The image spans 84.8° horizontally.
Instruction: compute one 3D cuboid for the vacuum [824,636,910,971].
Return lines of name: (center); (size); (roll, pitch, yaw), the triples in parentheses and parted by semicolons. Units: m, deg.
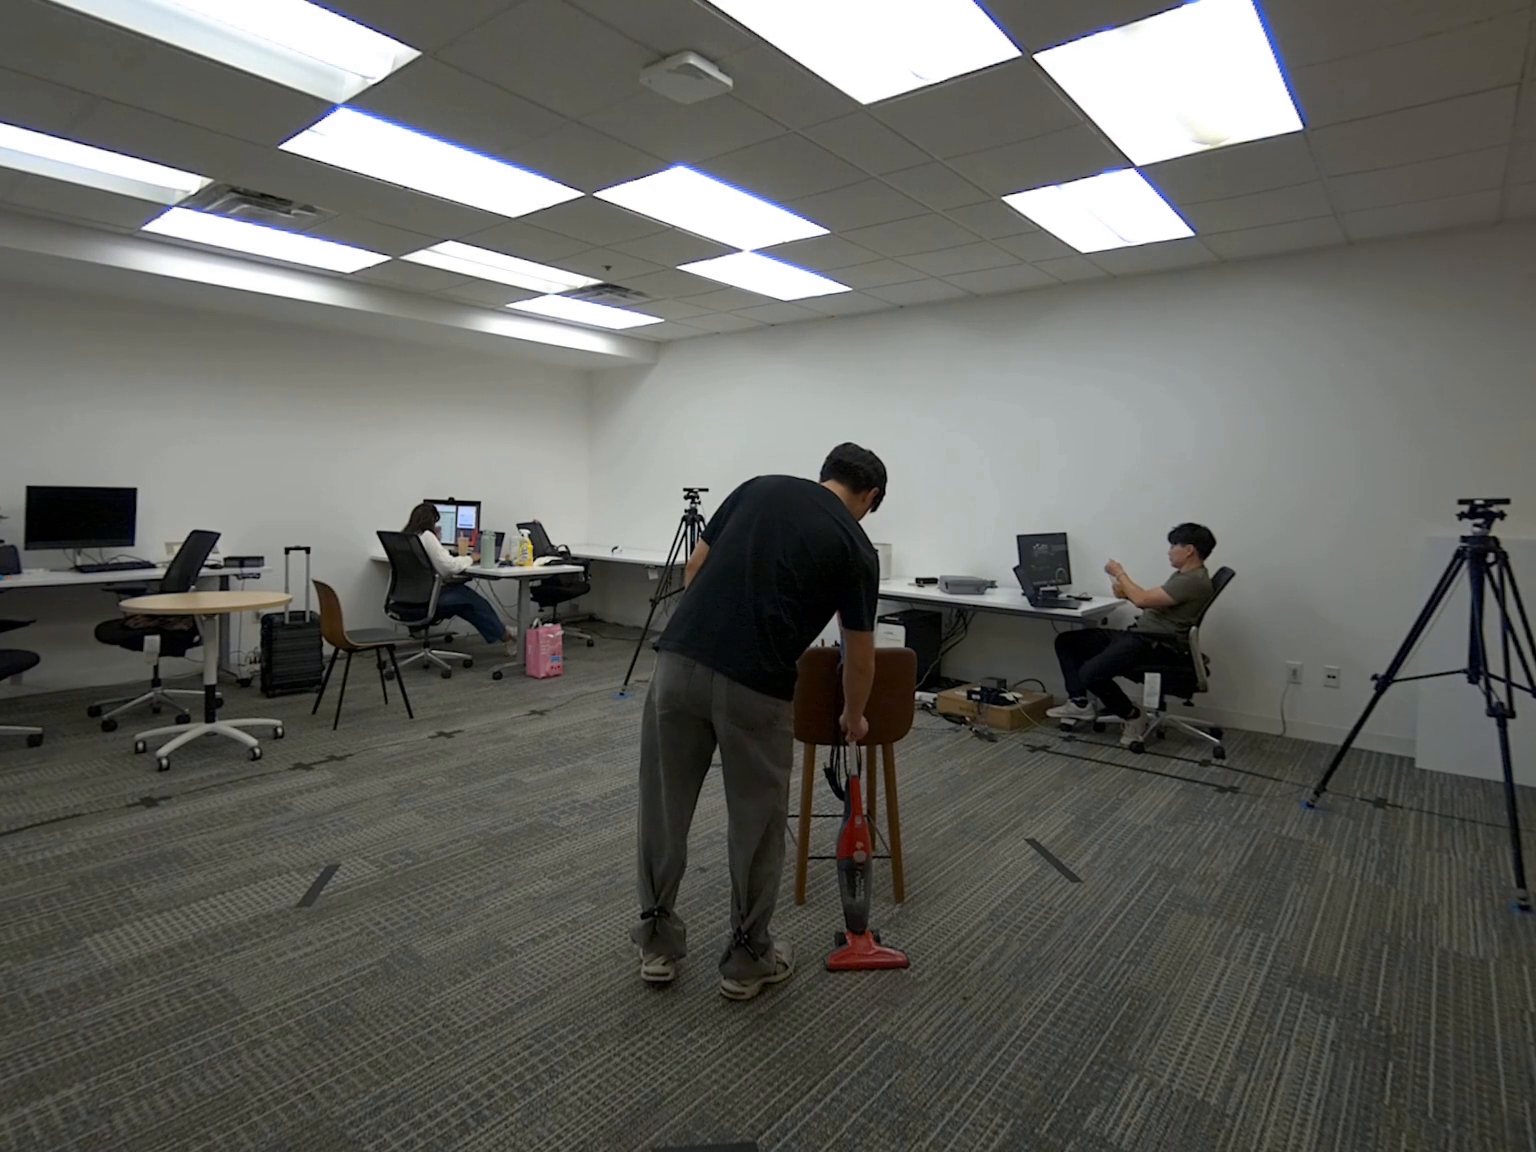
vacuum: (0.257, 0.628, 2.685); (0.247, 1.066, 0.145); (3, -17, -21)
